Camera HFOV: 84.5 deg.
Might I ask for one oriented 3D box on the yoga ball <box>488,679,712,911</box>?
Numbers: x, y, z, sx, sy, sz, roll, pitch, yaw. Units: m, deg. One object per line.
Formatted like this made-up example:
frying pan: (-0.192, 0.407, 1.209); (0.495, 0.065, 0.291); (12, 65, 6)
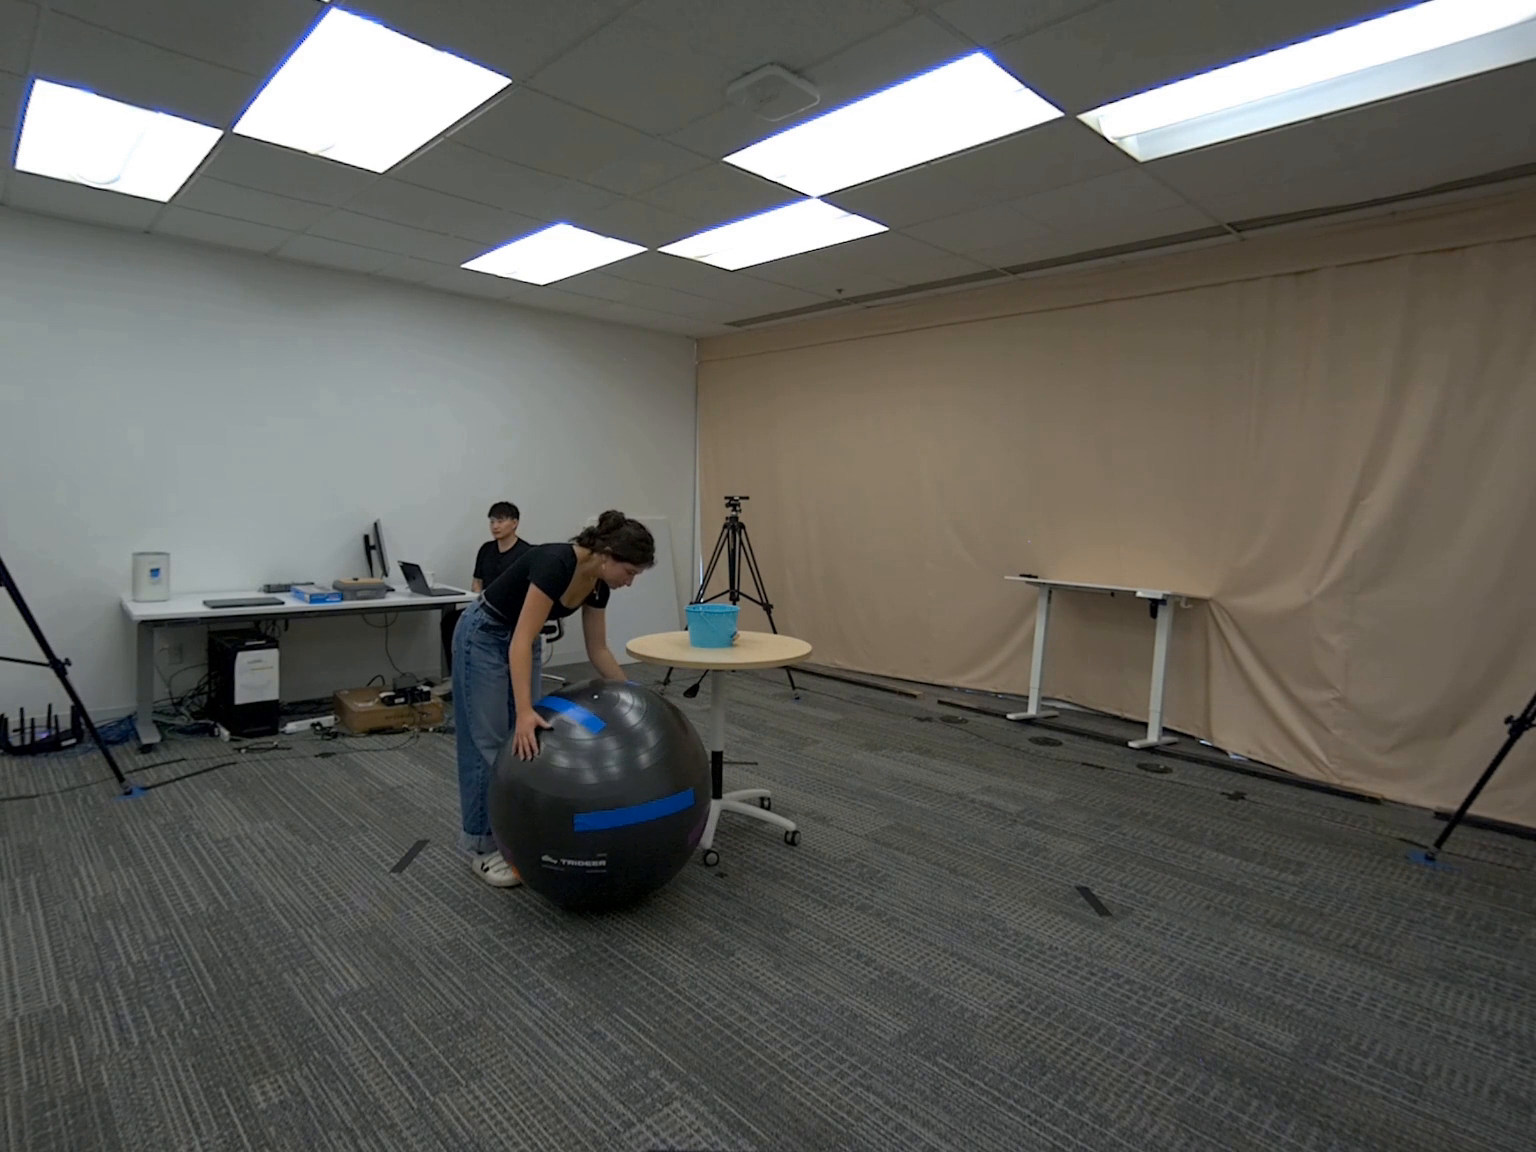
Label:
yoga ball: (-0.576, 0.749, 2.891); (0.757, 0.756, 0.761); (1, 4, -1)
